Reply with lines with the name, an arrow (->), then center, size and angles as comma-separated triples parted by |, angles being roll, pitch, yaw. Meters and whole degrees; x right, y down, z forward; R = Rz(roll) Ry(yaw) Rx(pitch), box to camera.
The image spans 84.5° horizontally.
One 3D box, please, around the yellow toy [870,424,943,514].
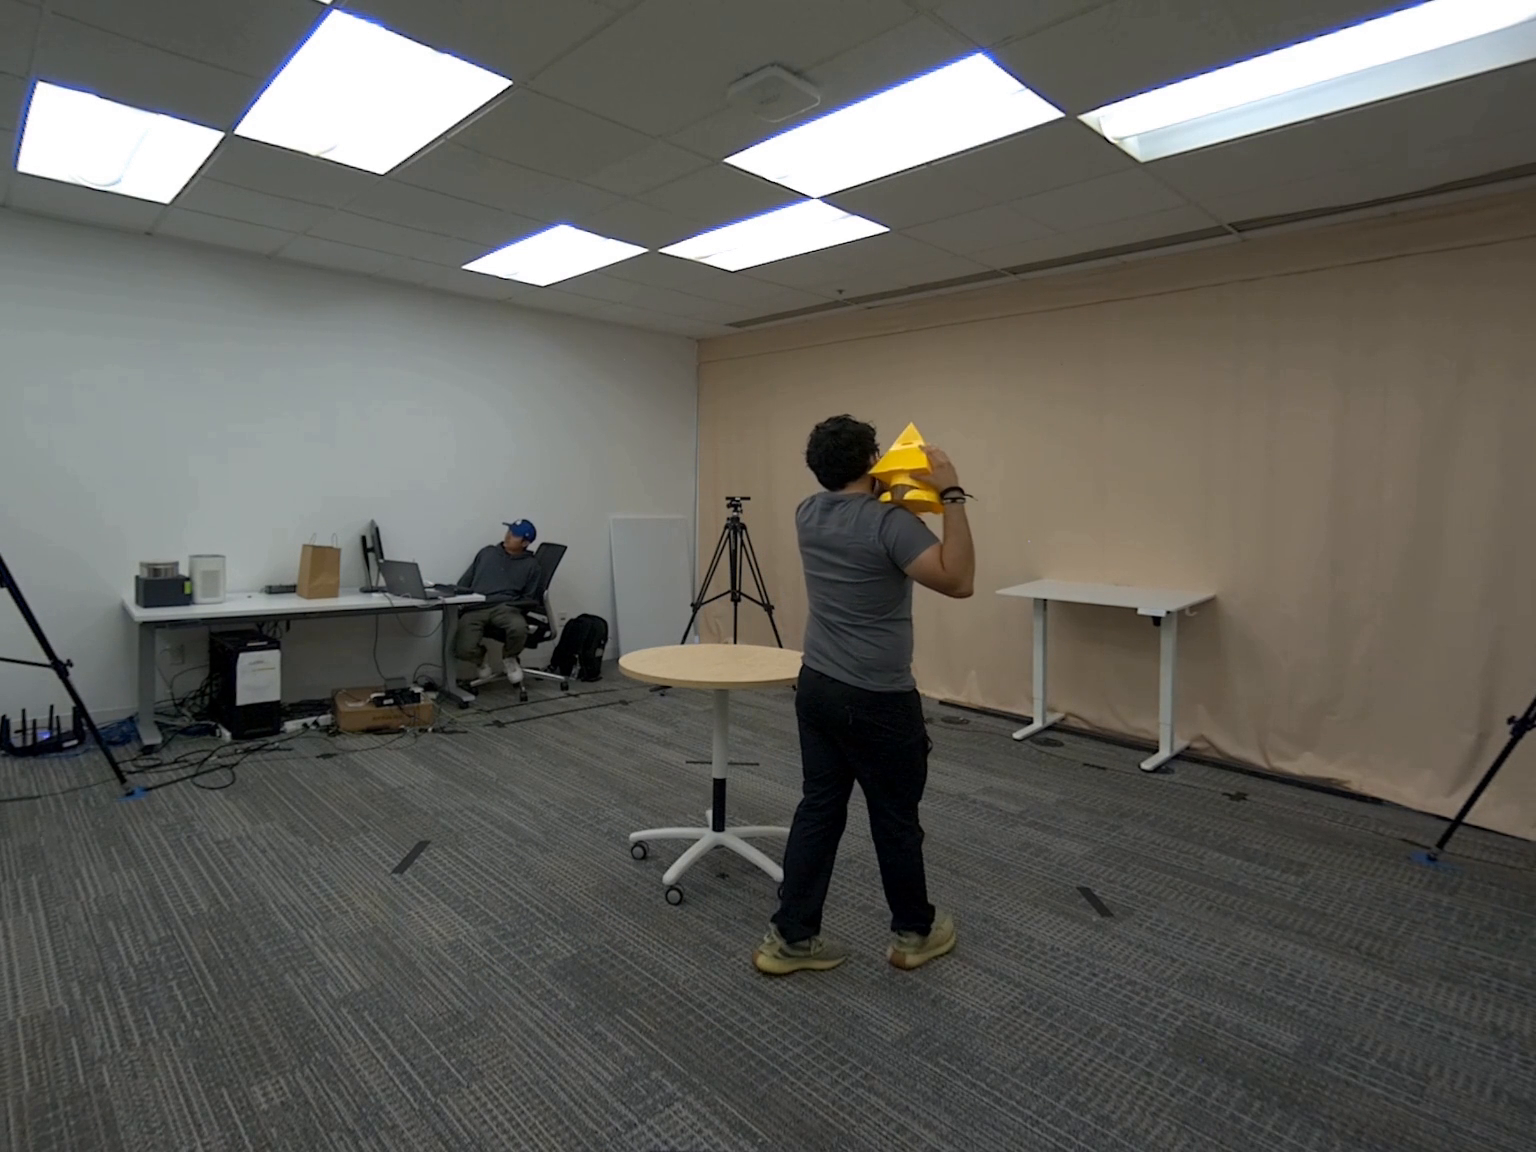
yellow toy -> 0.421, -0.305, 2.369 | 0.187, 0.232, 0.209 | 20, -14, -39
